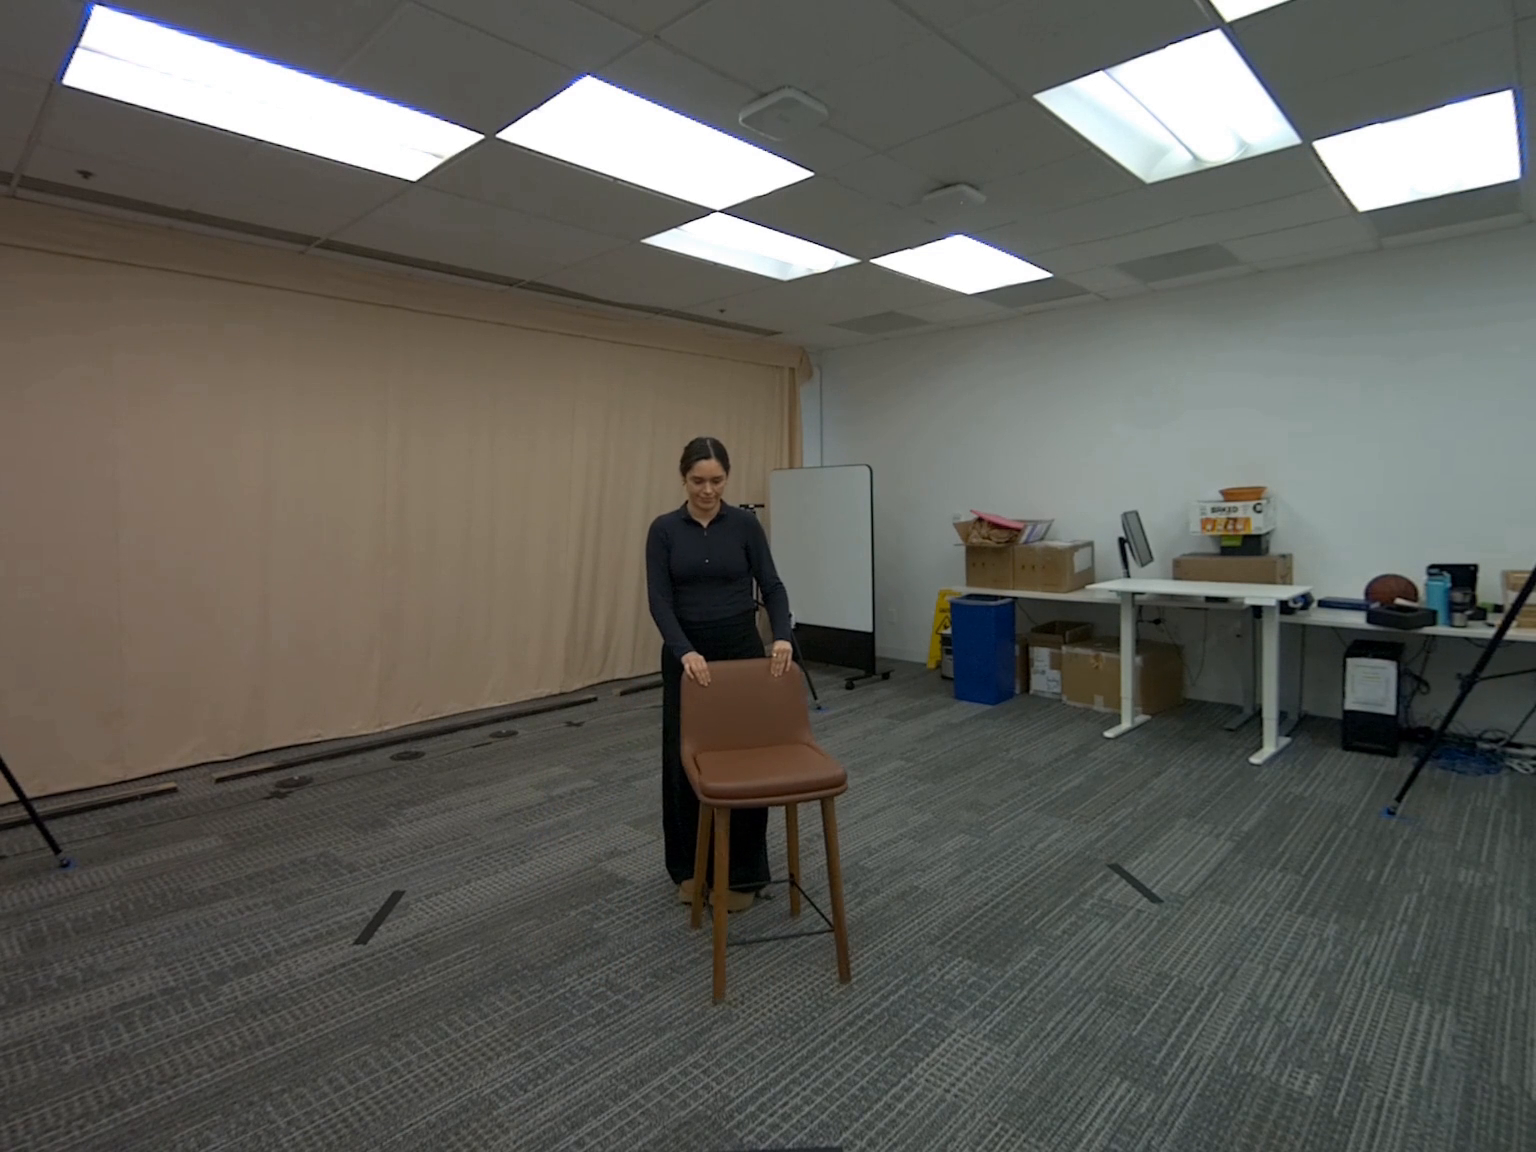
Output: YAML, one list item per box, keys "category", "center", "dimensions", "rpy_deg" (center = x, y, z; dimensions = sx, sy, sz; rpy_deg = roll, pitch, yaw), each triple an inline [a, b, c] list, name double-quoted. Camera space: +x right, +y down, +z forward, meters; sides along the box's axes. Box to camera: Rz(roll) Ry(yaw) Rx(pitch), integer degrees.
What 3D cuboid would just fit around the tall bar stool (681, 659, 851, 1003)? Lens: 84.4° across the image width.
- category: "tall bar stool"
  center: [-0.018, 0.733, 2.600]
  dimensions: [0.450, 0.889, 0.475]
  rpy_deg: [-1, 1, -14]
